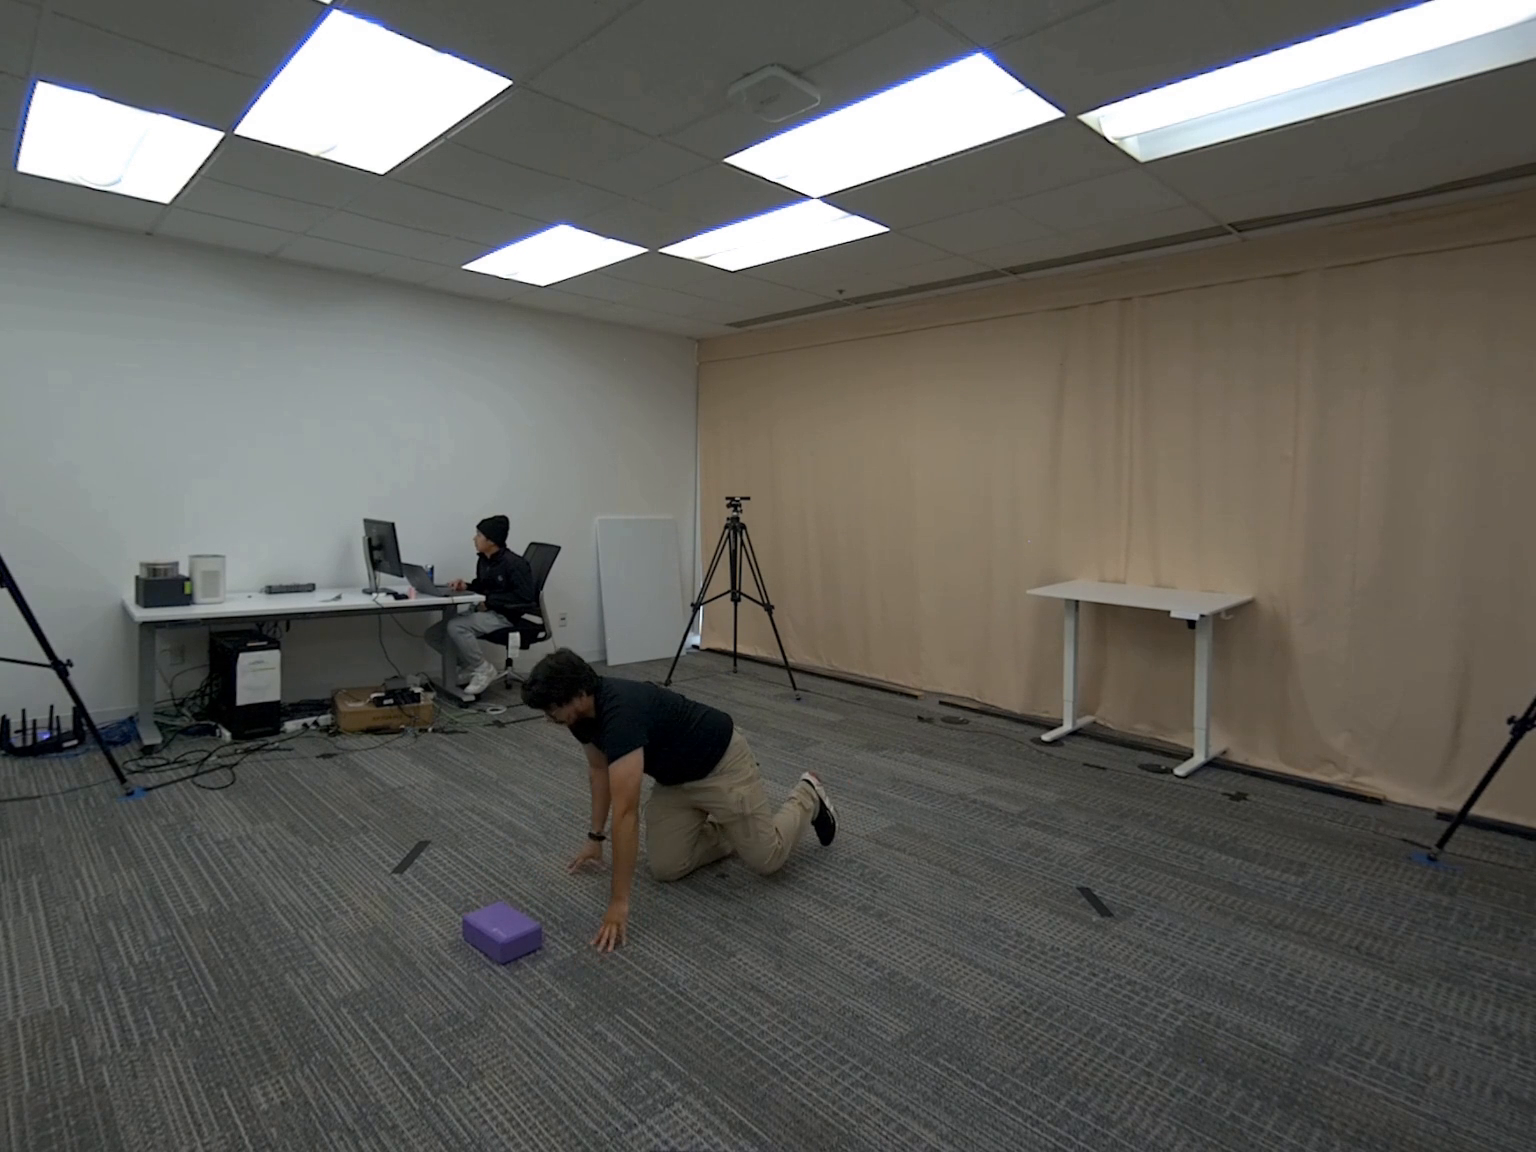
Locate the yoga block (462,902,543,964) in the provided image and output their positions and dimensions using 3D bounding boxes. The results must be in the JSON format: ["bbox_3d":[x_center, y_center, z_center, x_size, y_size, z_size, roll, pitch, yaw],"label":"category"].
[{"bbox_3d":[-0.827,1.101,2.598,0.235,0.076,0.146,6,7,40],"label":"yoga block"}]
